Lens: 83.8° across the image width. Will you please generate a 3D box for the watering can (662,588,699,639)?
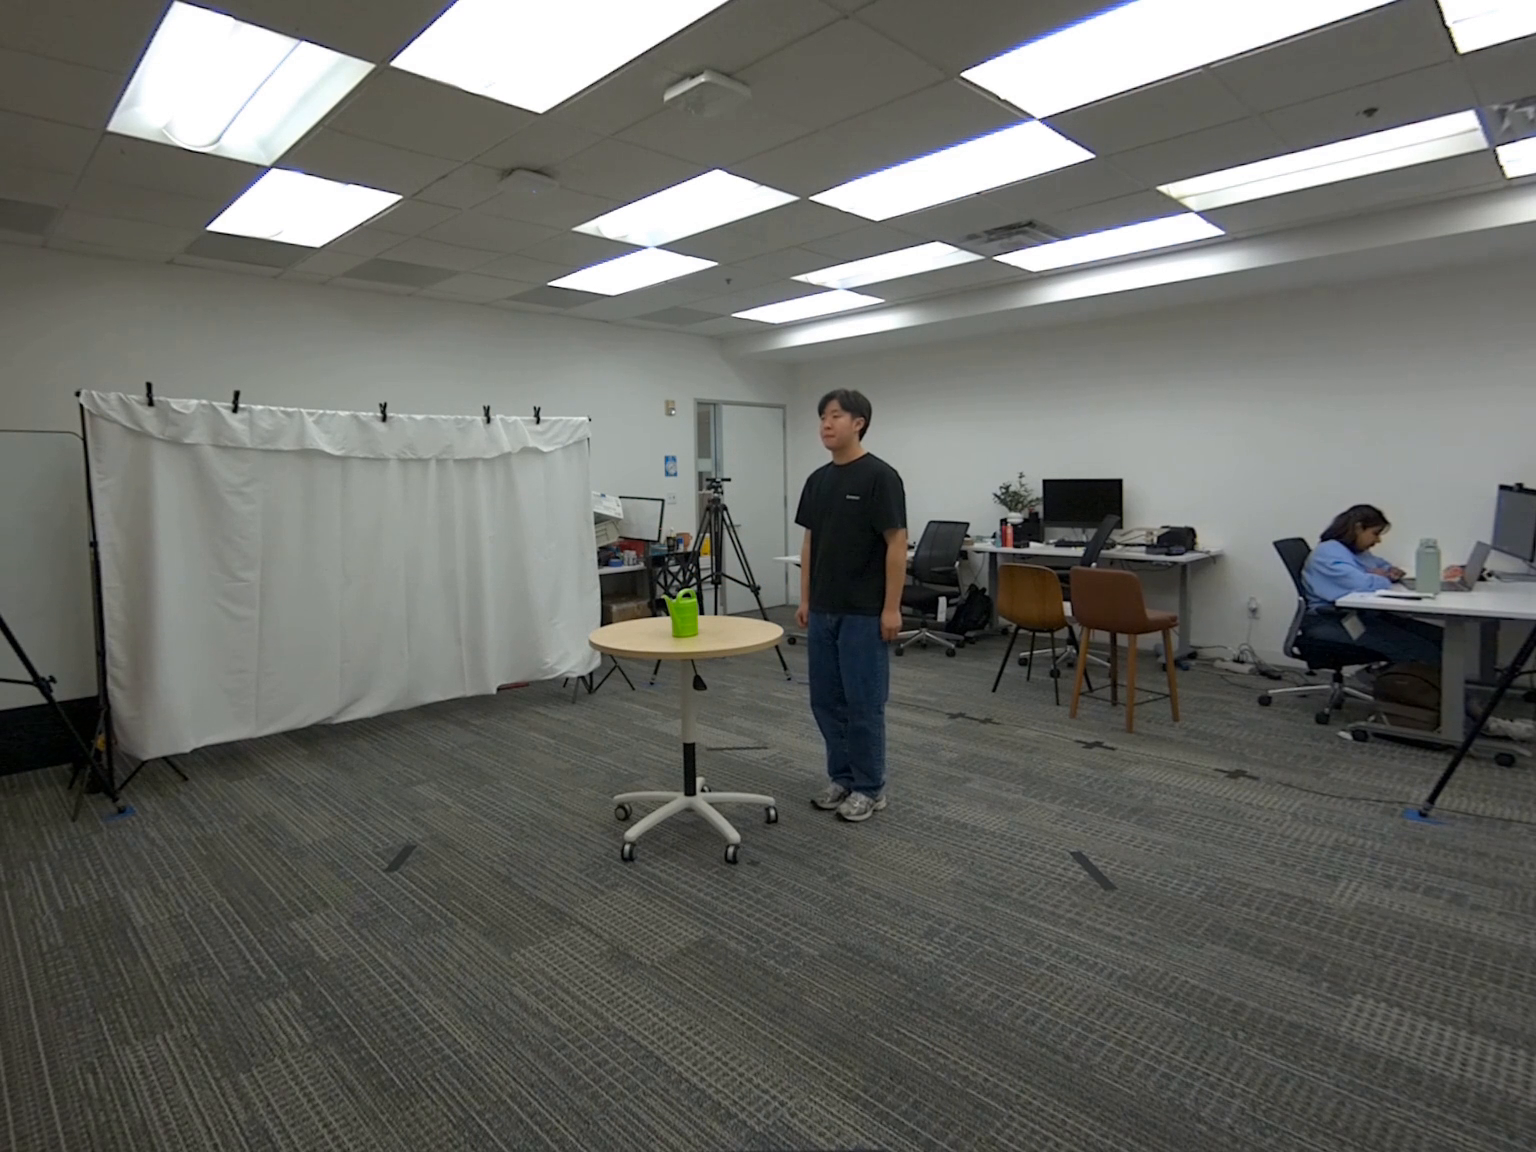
[{"bbox_3d":[-0.339,0.142,3.275,0.101,0.176,0.271,2,5,33],"label":"watering can"}]
